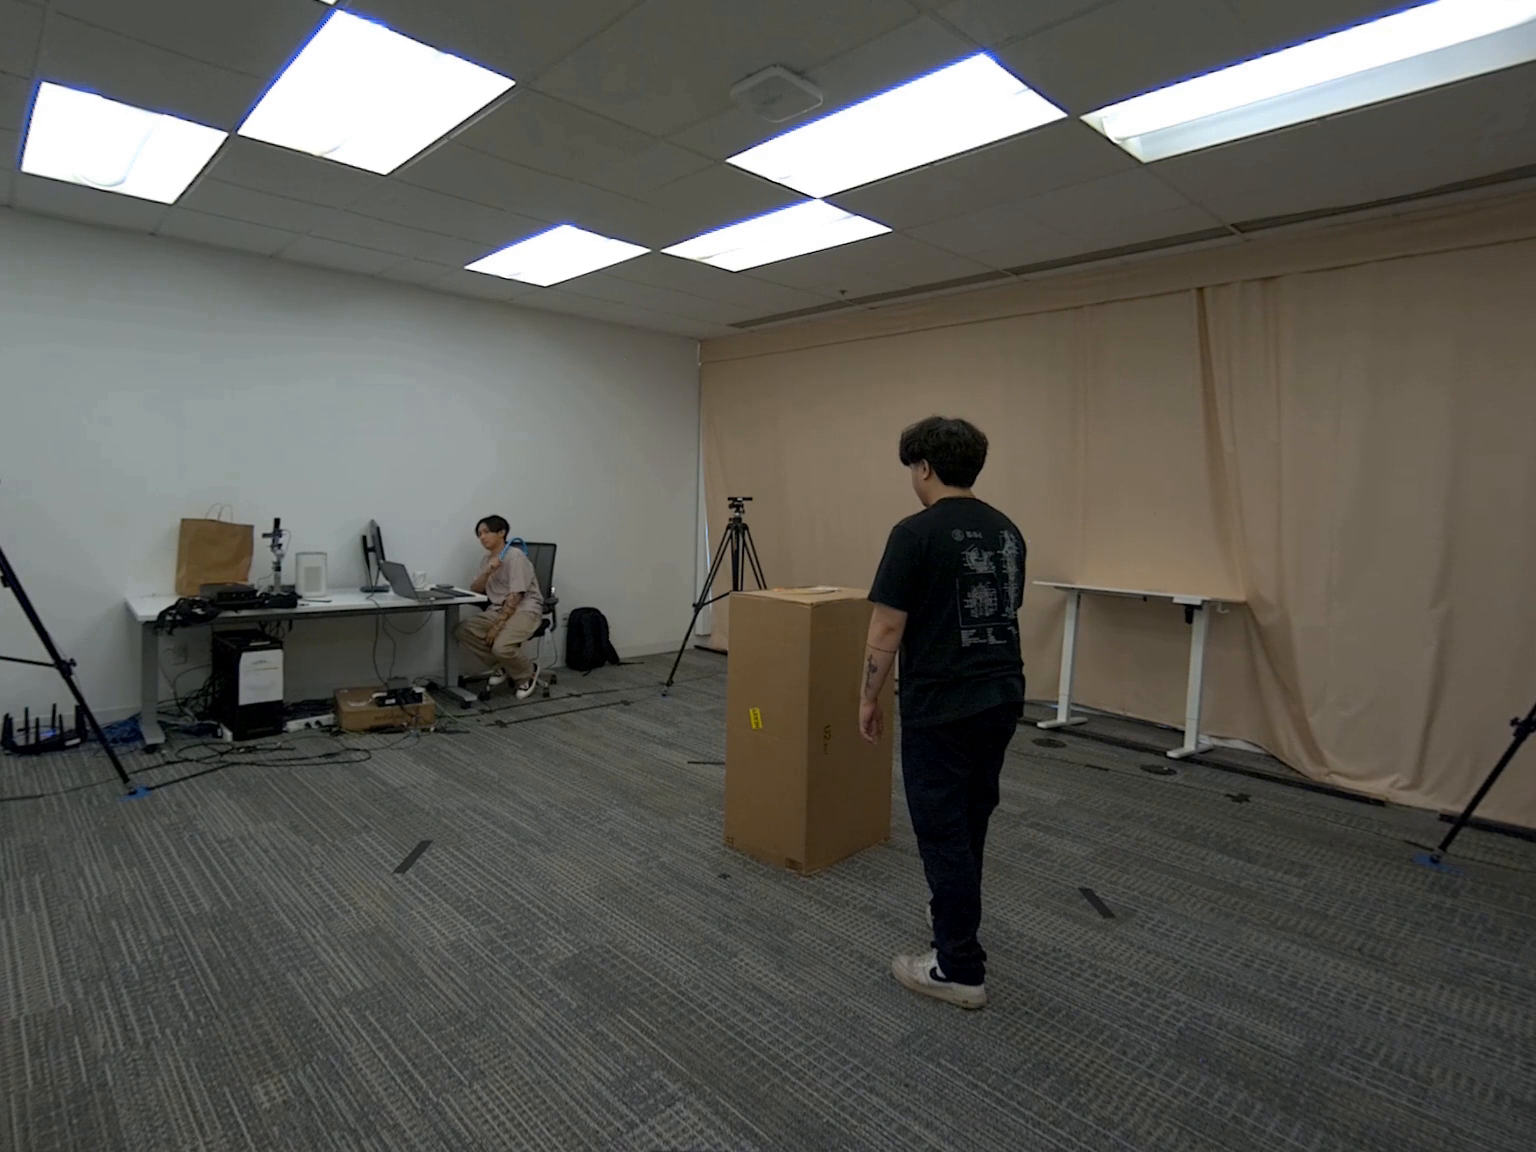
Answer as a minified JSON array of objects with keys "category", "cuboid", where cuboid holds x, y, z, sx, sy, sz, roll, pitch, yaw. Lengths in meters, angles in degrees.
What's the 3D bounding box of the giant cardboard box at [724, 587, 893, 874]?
[{"category":"giant cardboard box","cuboid":[0.171,0.576,3.435,0.458,1.025,0.570,3,3,44]}]
